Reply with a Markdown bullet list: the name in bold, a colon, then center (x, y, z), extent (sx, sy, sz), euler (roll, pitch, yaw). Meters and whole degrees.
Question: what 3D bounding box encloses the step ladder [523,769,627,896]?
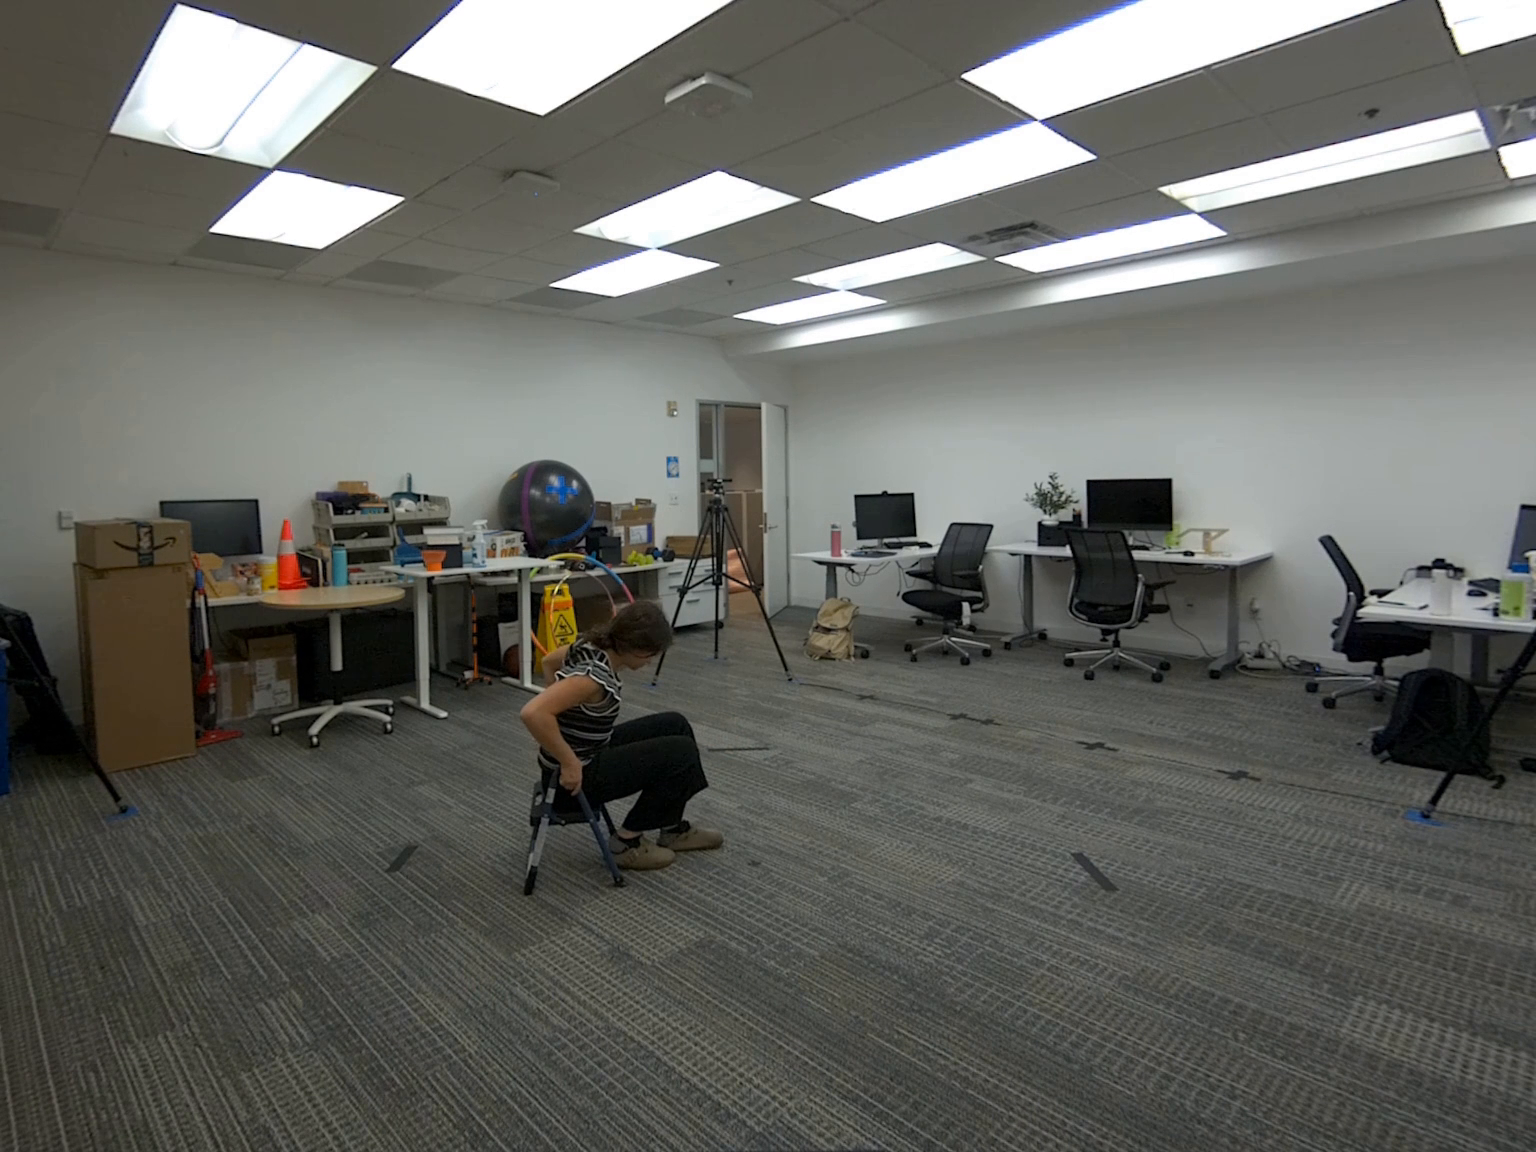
- **step ladder**: center (-0.711, 0.765, 3.106), extent (0.346, 0.604, 0.436), euler (-2, 3, -12)
